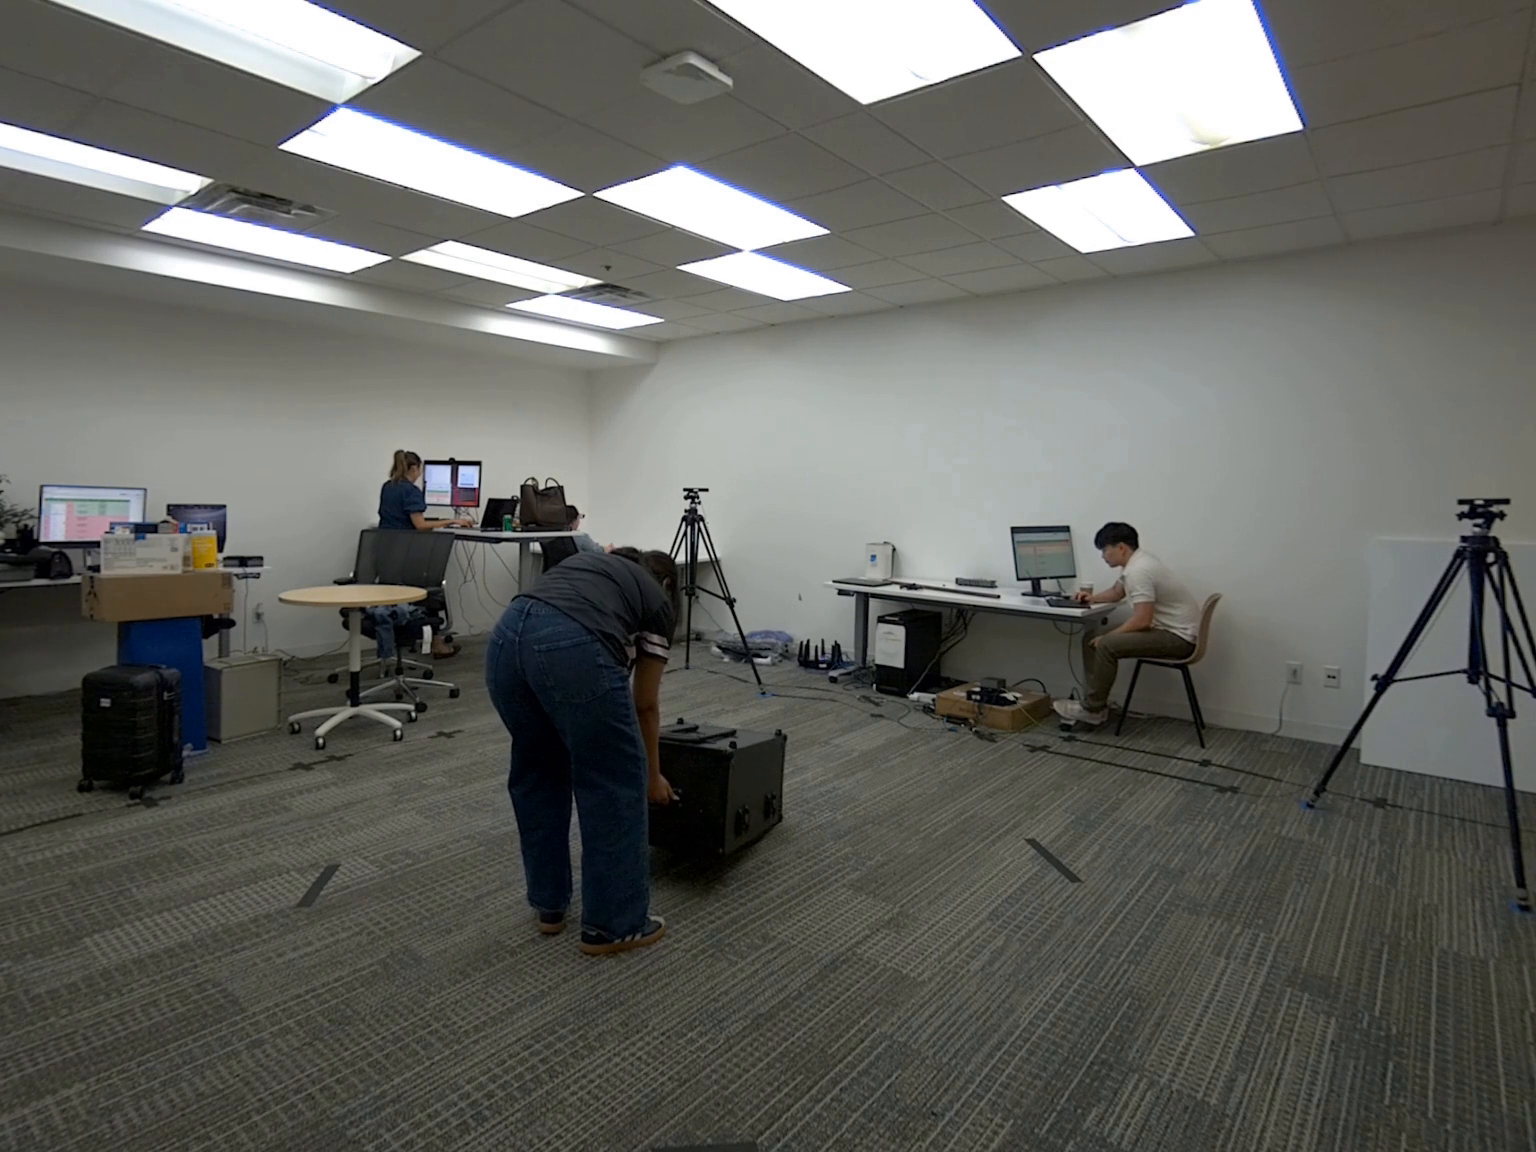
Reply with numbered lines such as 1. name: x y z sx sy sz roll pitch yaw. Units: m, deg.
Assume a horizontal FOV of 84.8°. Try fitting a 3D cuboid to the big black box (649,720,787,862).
1. big black box: -0.263 0.788 3.356 0.531 0.399 0.840 2 -6 16
